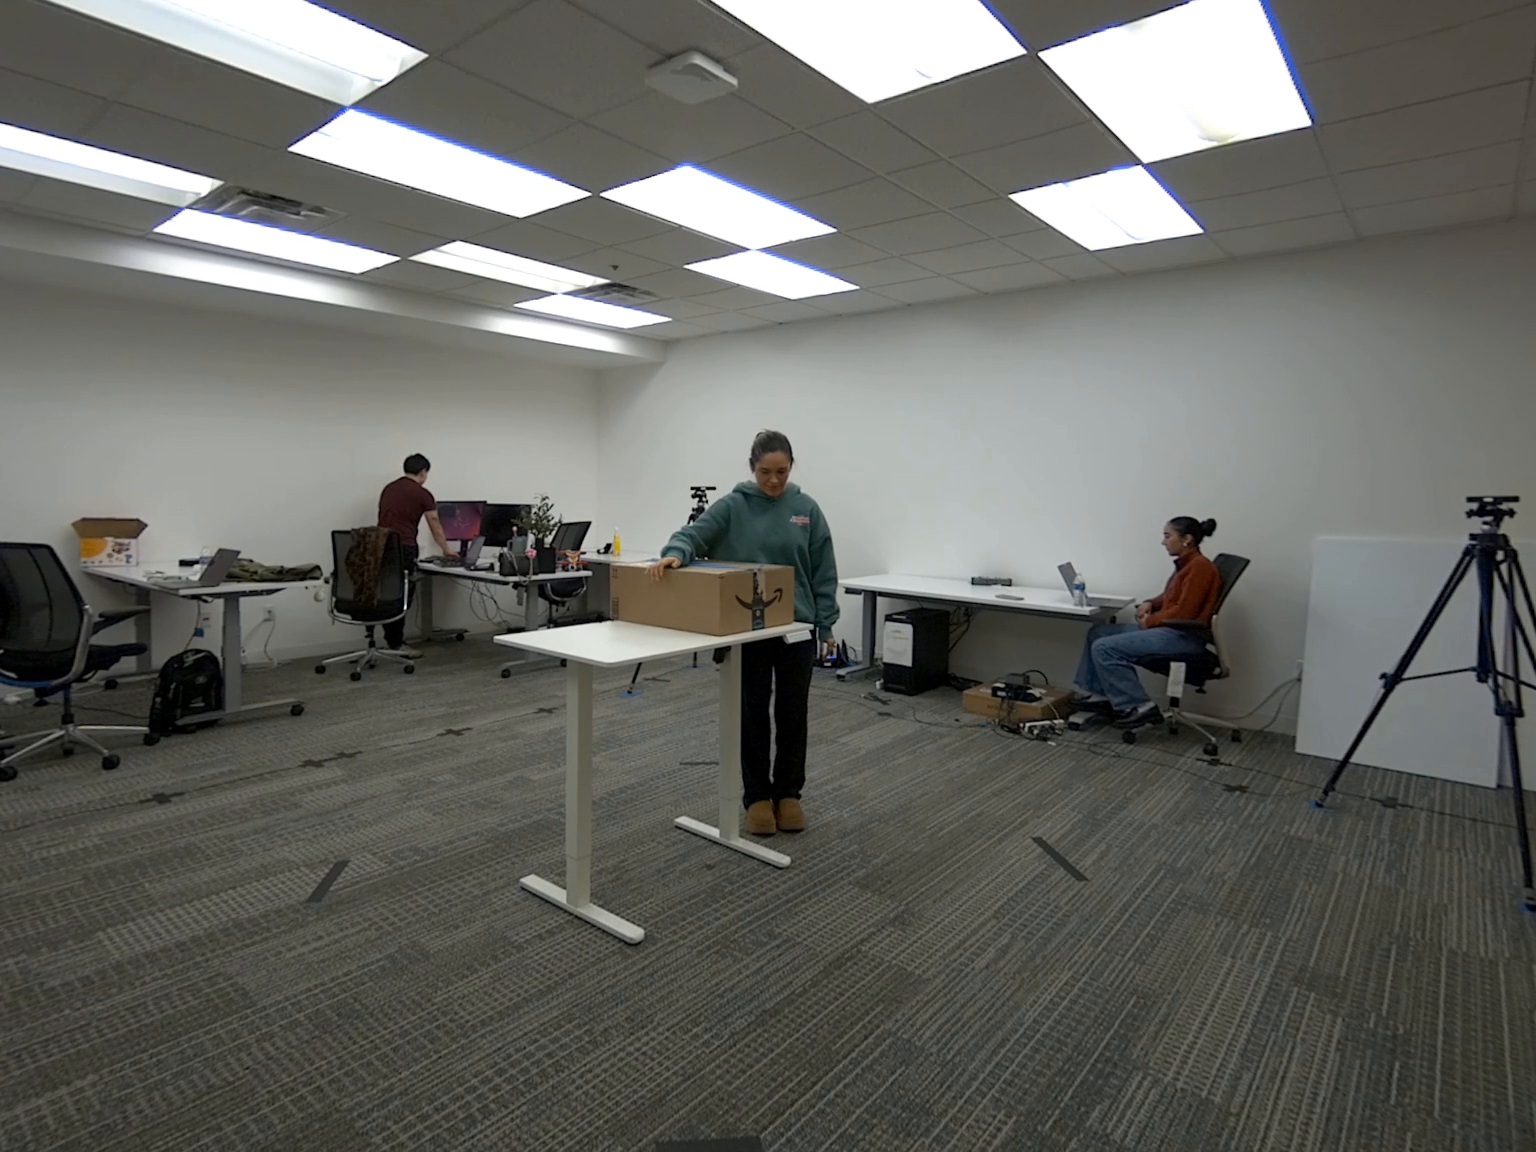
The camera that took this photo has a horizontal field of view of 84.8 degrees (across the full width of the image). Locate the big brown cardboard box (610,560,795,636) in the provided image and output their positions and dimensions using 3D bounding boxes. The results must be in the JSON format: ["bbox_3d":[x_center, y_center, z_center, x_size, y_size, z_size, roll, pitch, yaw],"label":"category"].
[{"bbox_3d":[-0.262,0.064,3.226,0.609,0.232,0.405,6,7,40],"label":"big brown cardboard box"}]
